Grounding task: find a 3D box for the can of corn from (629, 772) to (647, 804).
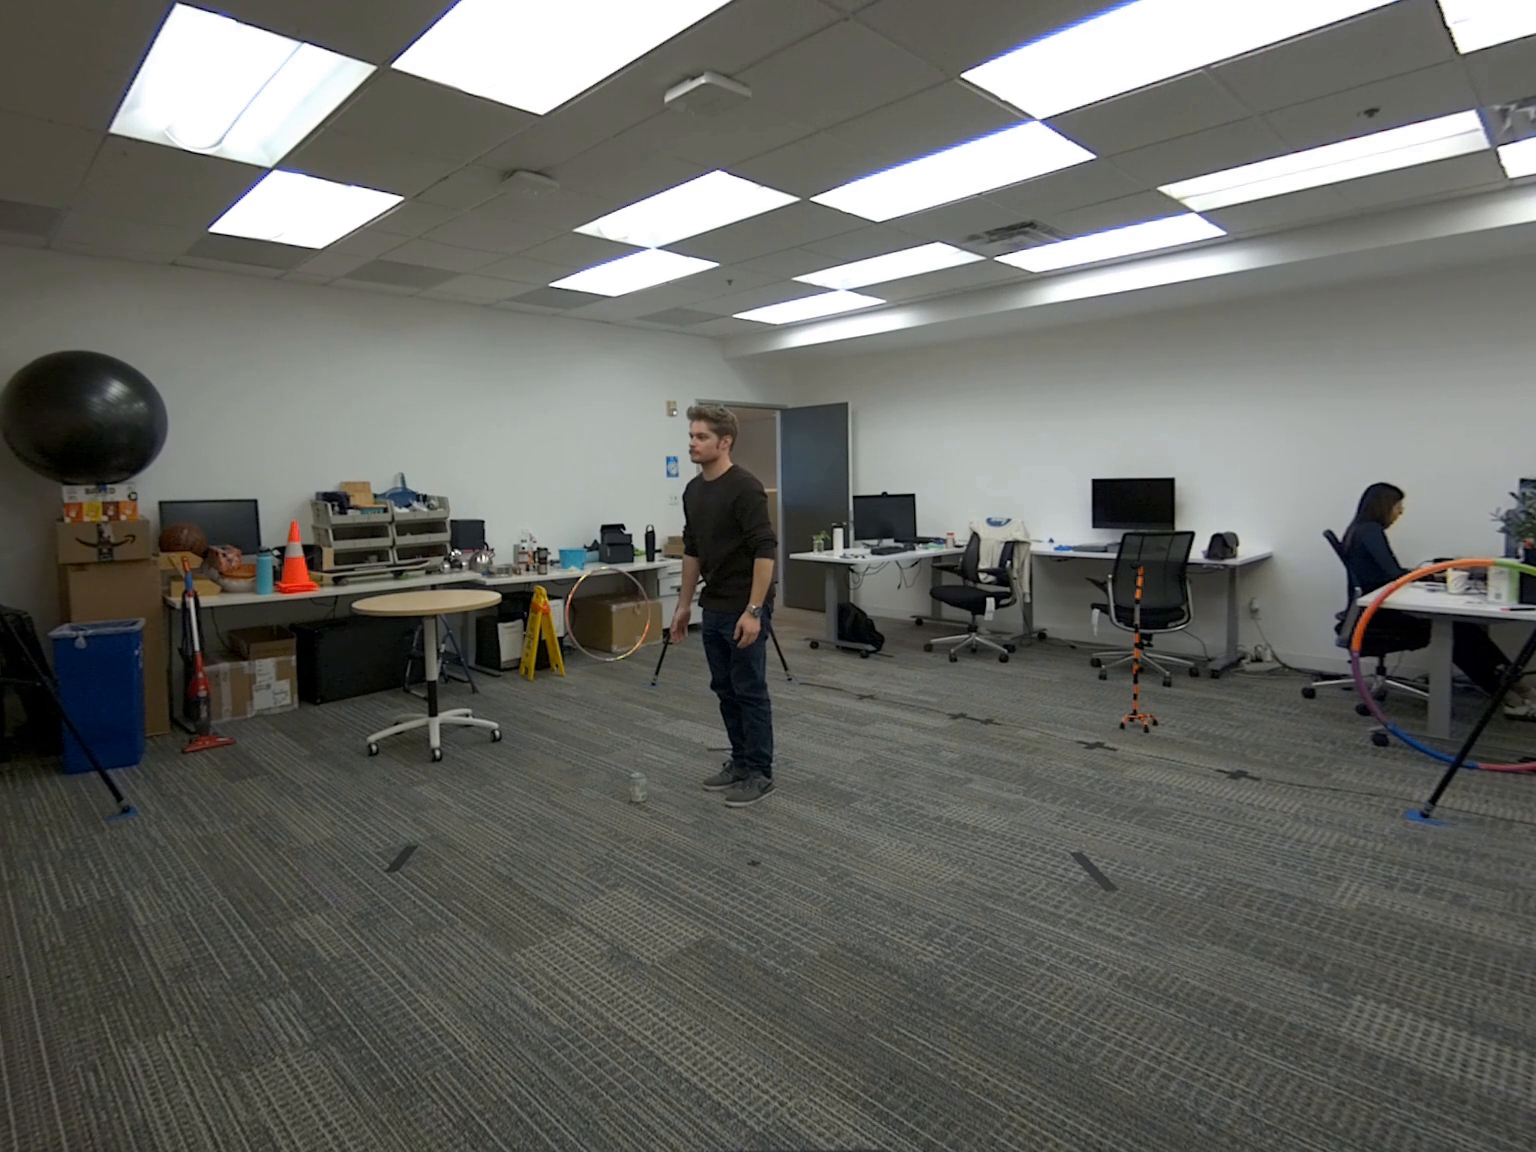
[{"bbox_3d":[-0.567,0.931,3.742,0.074,0.111,0.074,-1,3,-2],"label":"can of corn"}]
